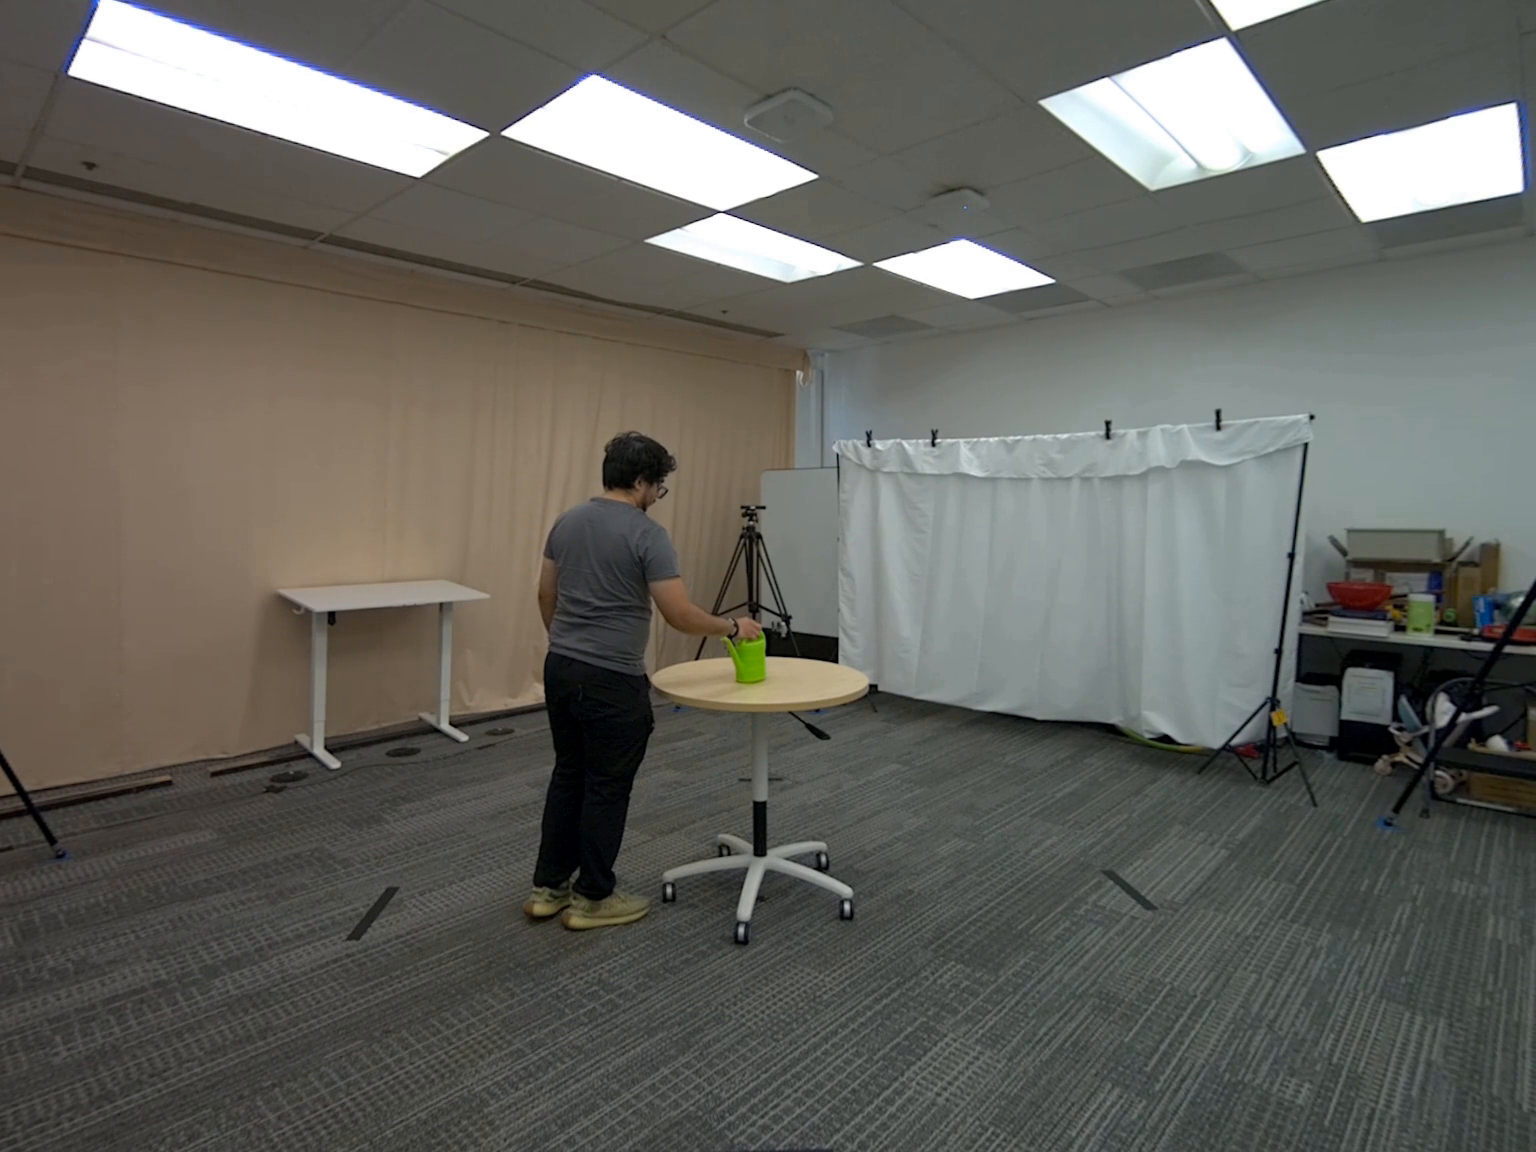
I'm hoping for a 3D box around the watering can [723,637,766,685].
[{"bbox_3d":[-0.088,0.280,2.899,0.270,0.176,0.101,-6,6,-45],"label":"watering can"}]
